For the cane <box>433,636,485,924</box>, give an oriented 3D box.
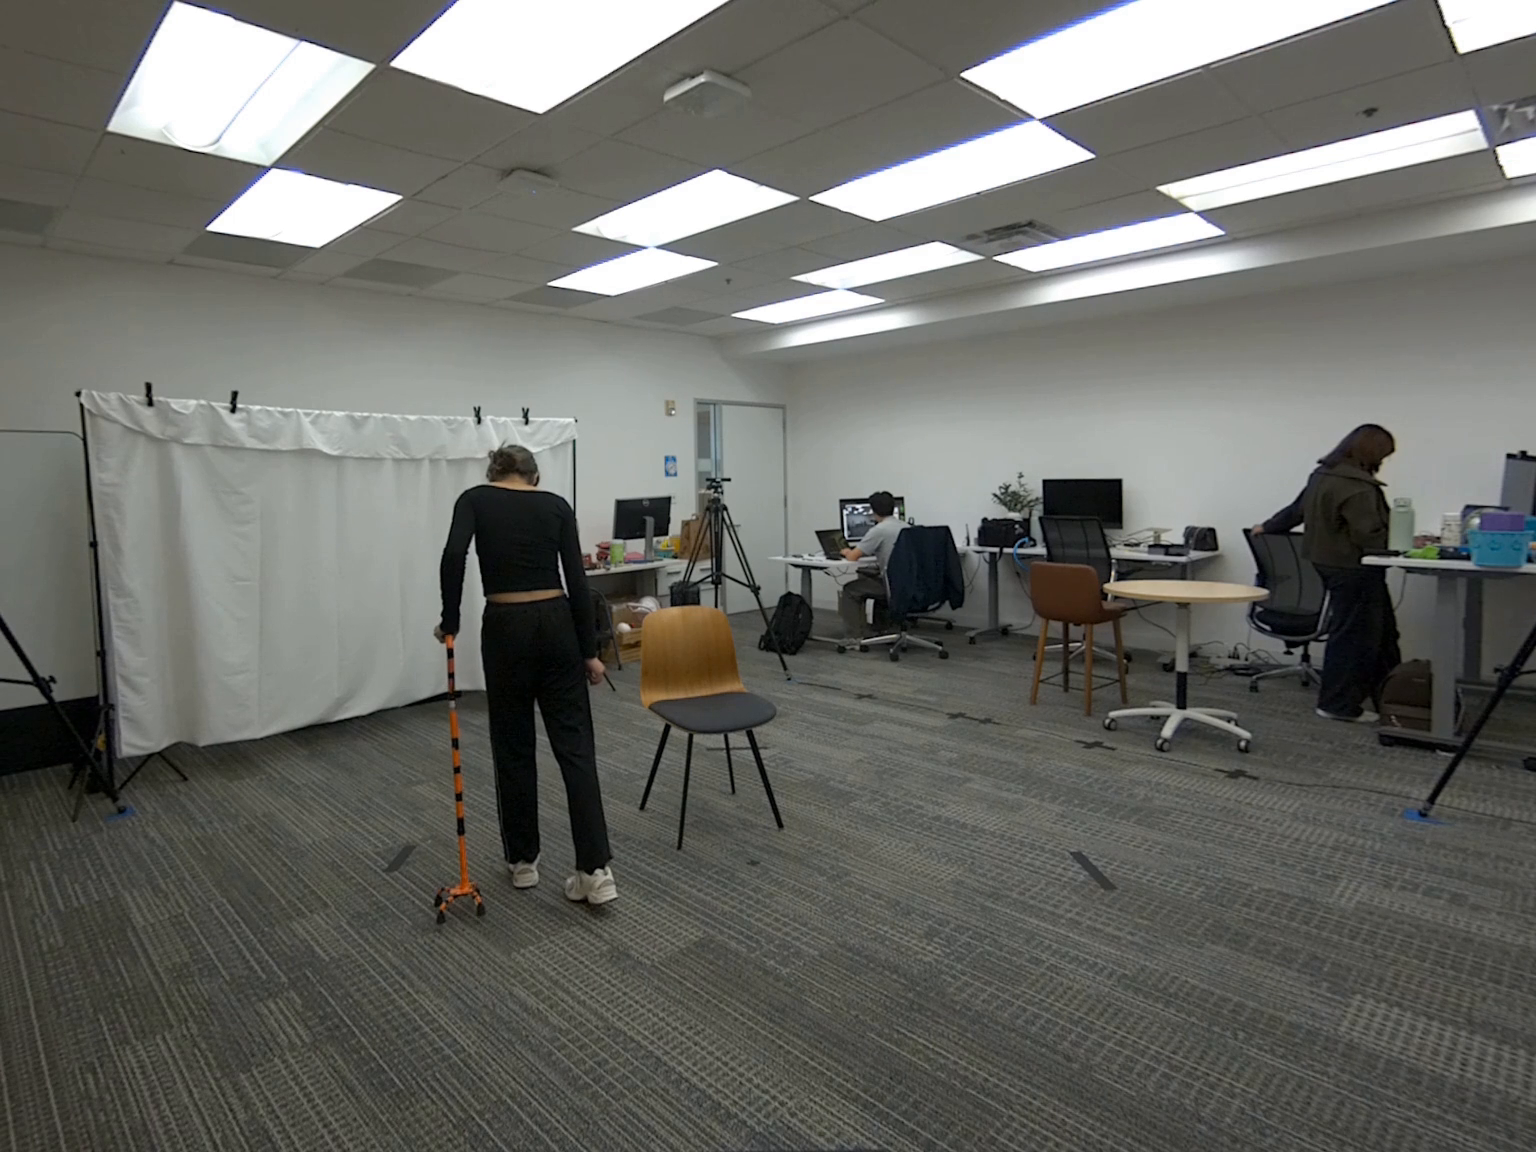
[{"bbox_3d":[-1.042,0.635,2.810,0.149,0.911,0.210,-3,-4,-23],"label":"cane"}]
